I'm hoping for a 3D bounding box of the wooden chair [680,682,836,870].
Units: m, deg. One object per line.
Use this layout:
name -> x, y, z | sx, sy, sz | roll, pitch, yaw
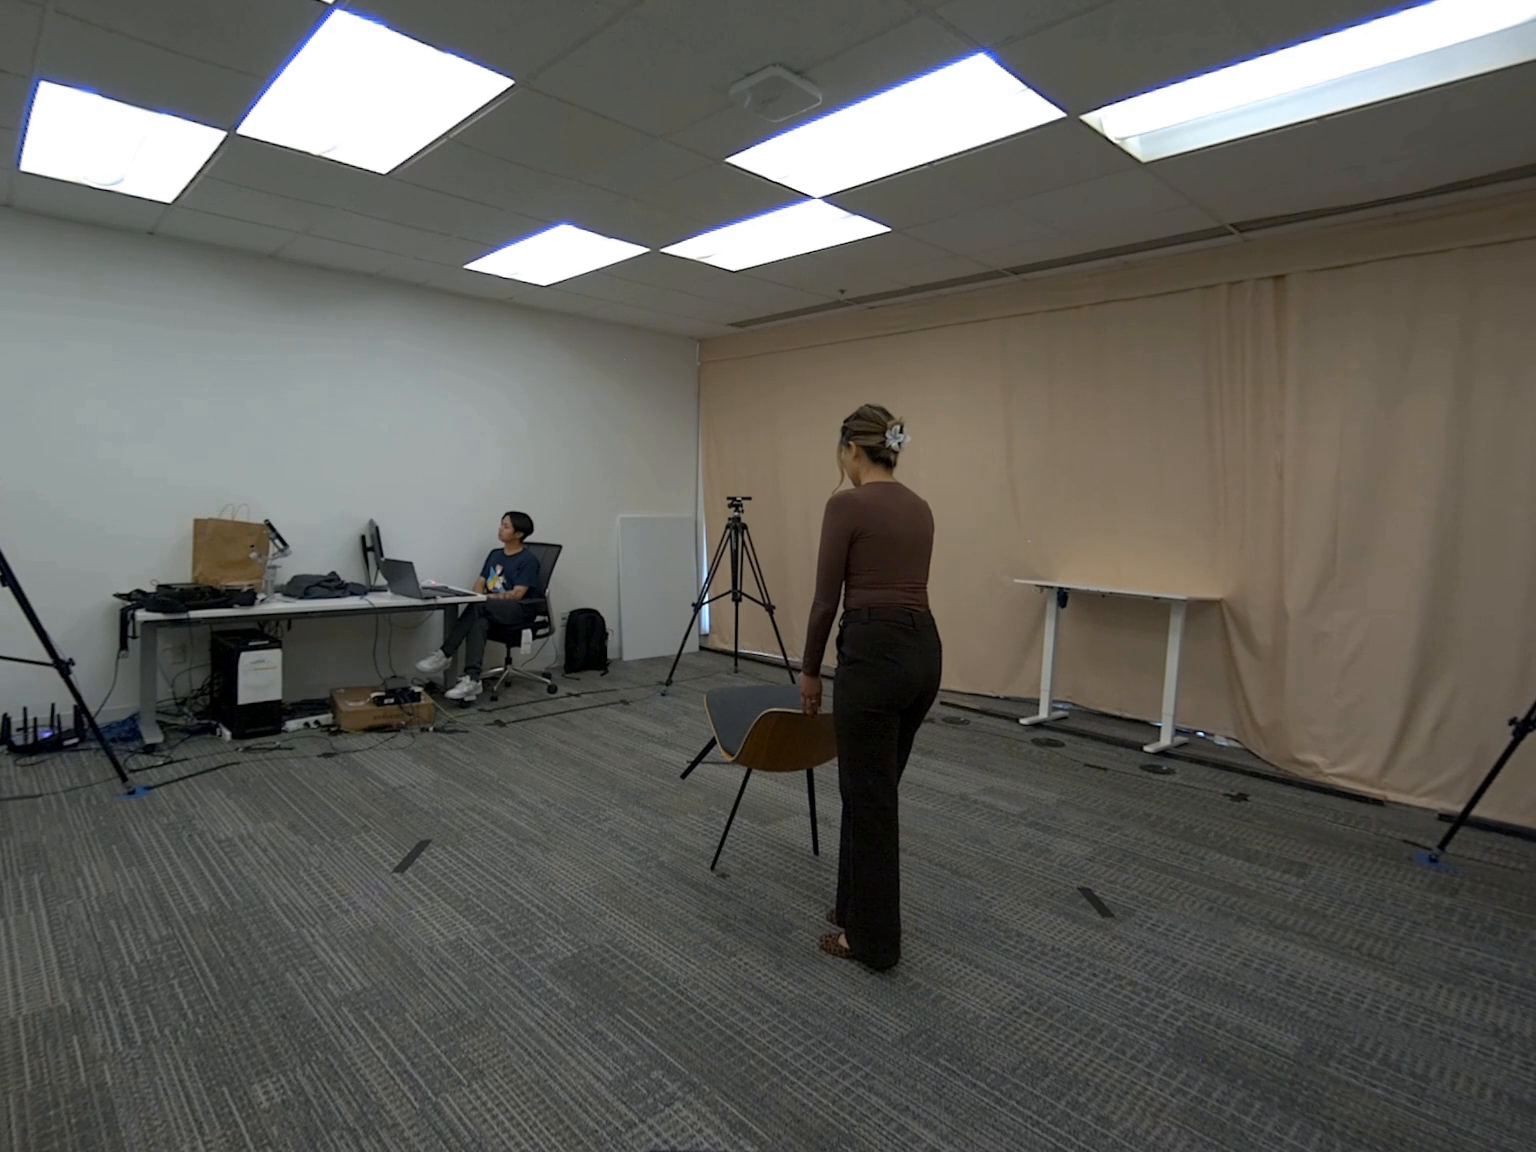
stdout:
wooden chair -> 0.006, 0.615, 3.179 | 0.470, 0.865, 0.539 | 0, 39, -22
